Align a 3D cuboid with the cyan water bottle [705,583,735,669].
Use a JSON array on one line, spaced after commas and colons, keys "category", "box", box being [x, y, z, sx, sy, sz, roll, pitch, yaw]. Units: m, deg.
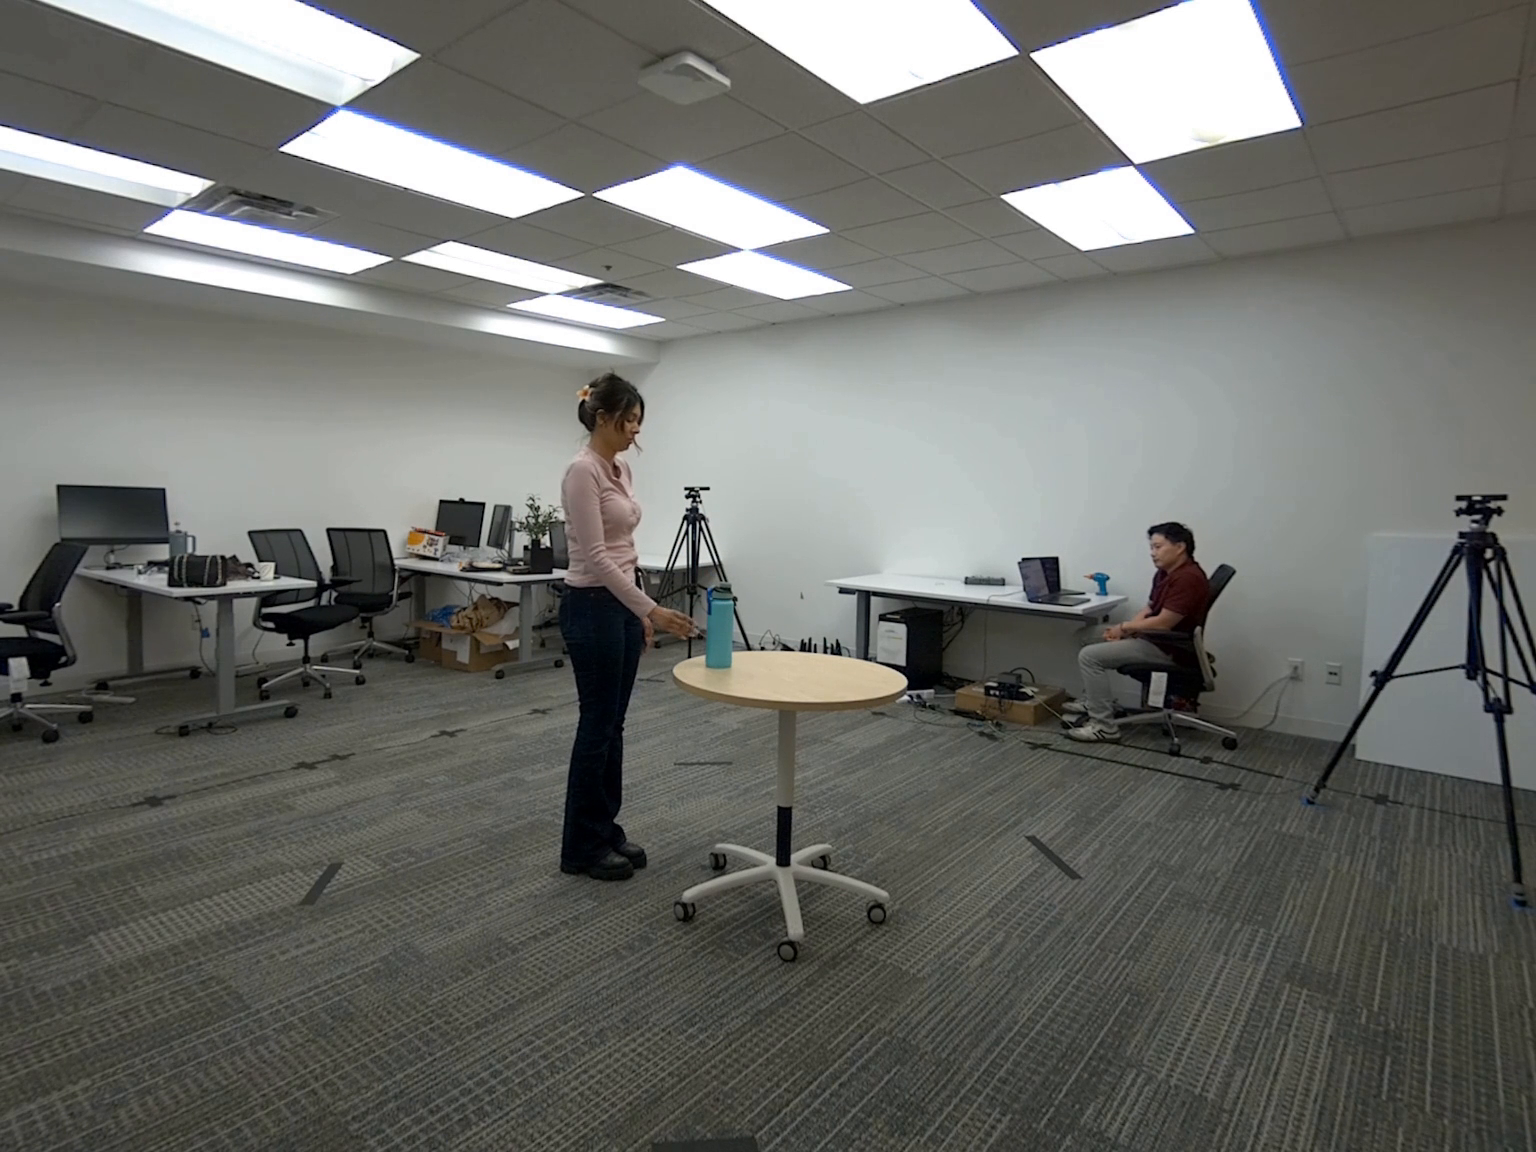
[{"category": "cyan water bottle", "box": [-0.177, 0.166, 2.876, 0.092, 0.283, 0.092, -1, 1, -2]}]
